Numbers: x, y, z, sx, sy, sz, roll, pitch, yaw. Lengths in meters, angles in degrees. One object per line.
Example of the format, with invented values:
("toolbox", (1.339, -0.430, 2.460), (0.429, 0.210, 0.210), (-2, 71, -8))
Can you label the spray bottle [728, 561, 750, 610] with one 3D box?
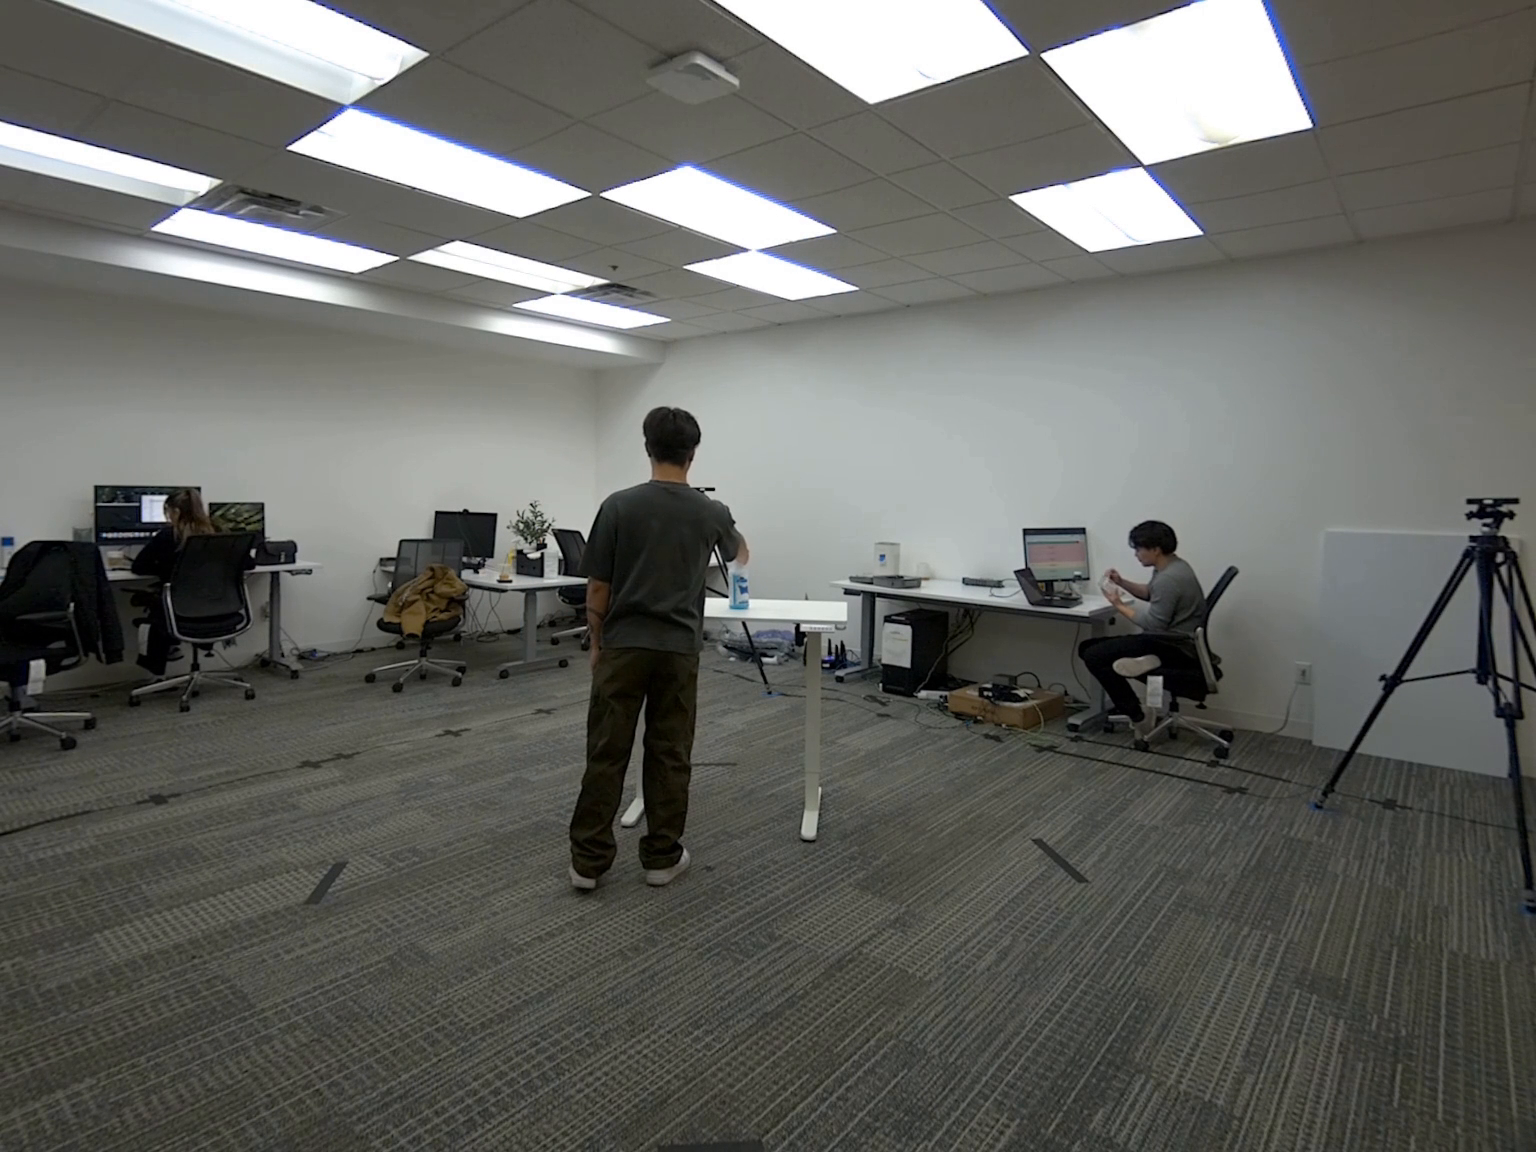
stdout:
("spray bottle", (-0.138, -0.012, 3.637), (0.089, 0.298, 0.088), (-2, -2, 21))
